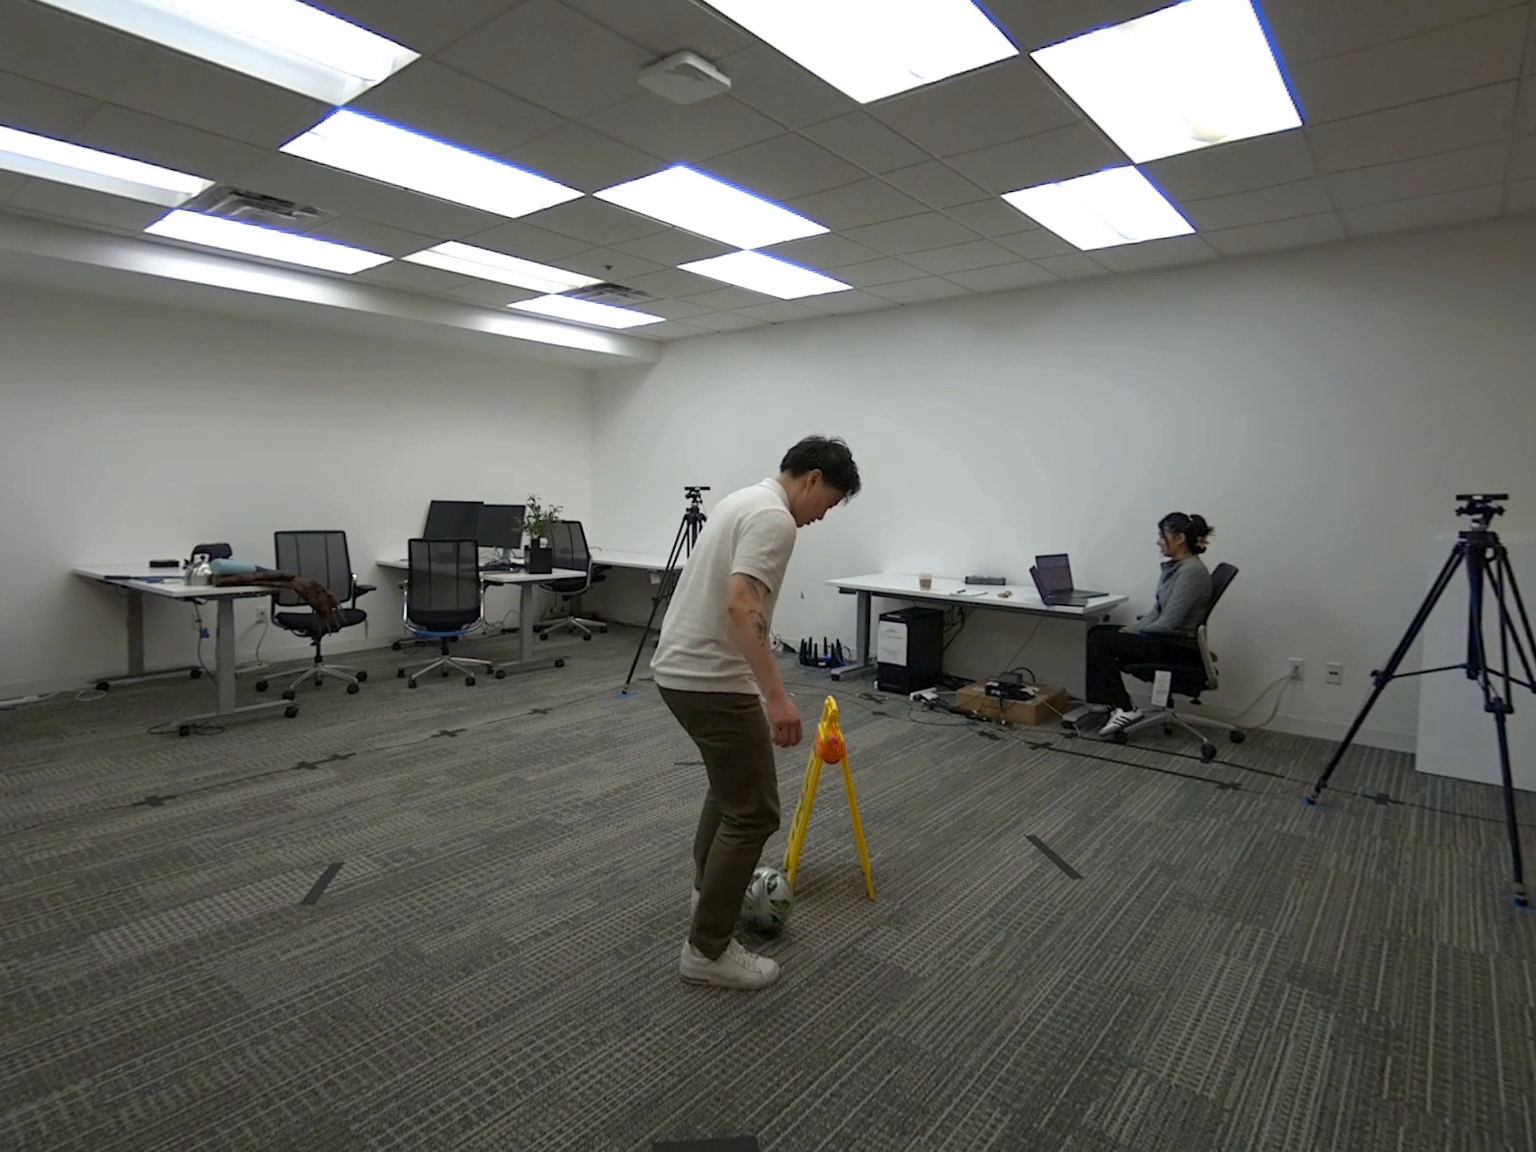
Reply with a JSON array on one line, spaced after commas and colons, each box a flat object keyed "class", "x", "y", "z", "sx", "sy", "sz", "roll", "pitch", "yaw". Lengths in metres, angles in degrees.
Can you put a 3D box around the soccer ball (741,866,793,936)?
[{"class": "soccer ball", "x": -0.009, "y": 1.021, "z": 2.673, "sx": 0.187, "sy": 0.187, "sz": 0.188, "roll": 0, "pitch": 4, "yaw": -2}]
